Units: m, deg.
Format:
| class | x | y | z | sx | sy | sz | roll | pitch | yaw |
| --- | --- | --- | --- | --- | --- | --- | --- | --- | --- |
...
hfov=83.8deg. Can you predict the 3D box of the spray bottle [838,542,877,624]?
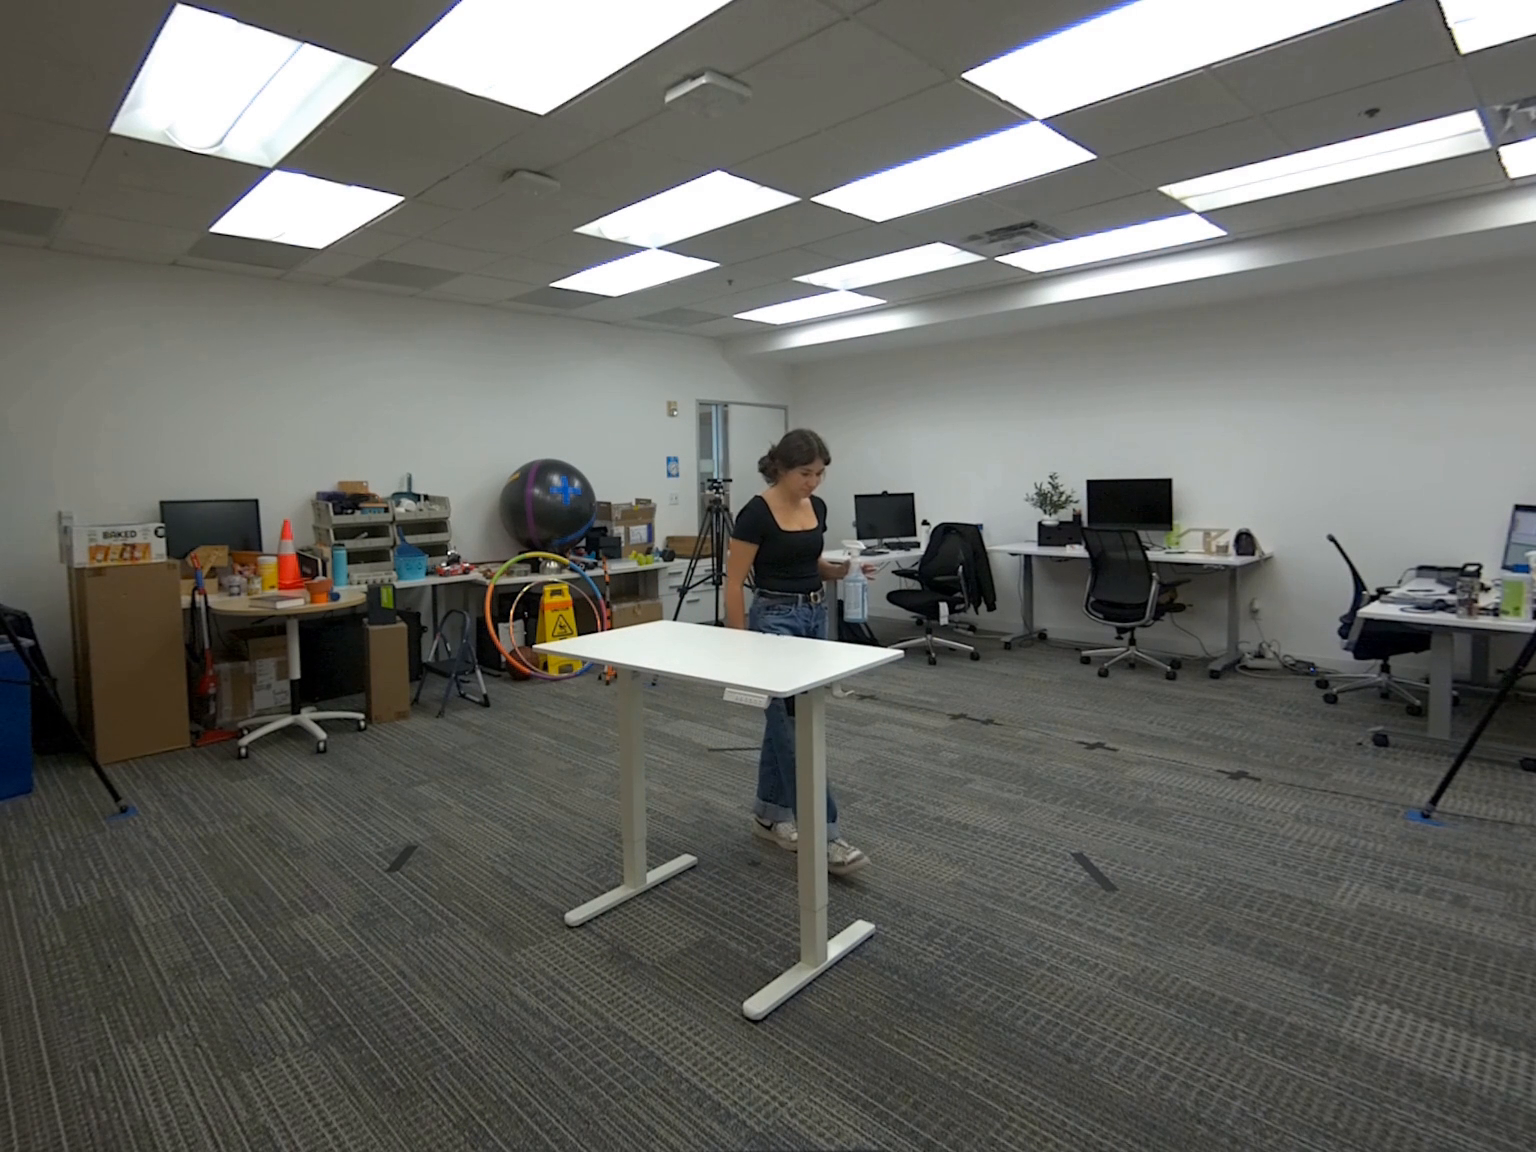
| class | x | y | z | sx | sy | sz | roll | pitch | yaw |
| --- | --- | --- | --- | --- | --- | --- | --- | --- | --- |
| spray bottle | 0.319 | 0.019 | 3.115 | 0.085 | 0.297 | 0.092 | -2 | 0 | -35 |
